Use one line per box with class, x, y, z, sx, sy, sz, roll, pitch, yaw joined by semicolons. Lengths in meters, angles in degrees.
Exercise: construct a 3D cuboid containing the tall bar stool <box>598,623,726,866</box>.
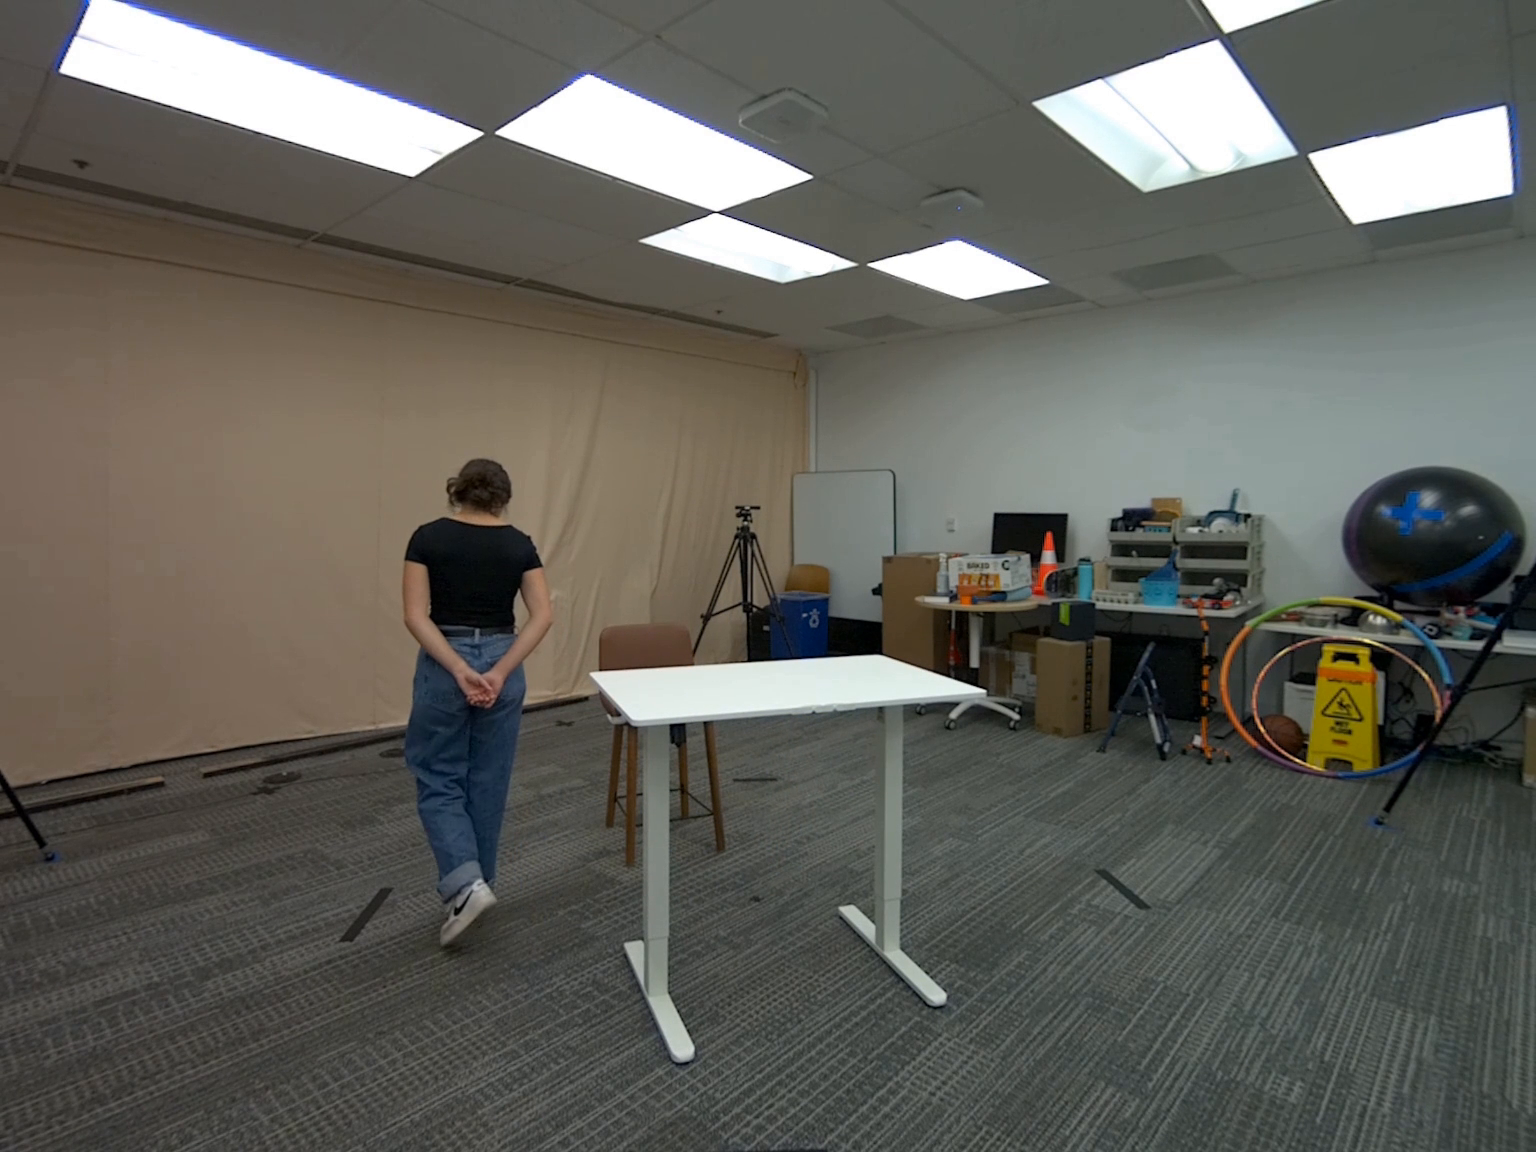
tall bar stool;-0.453;0.668;3.515;0.447;0.889;0.478;-2;2;-22
